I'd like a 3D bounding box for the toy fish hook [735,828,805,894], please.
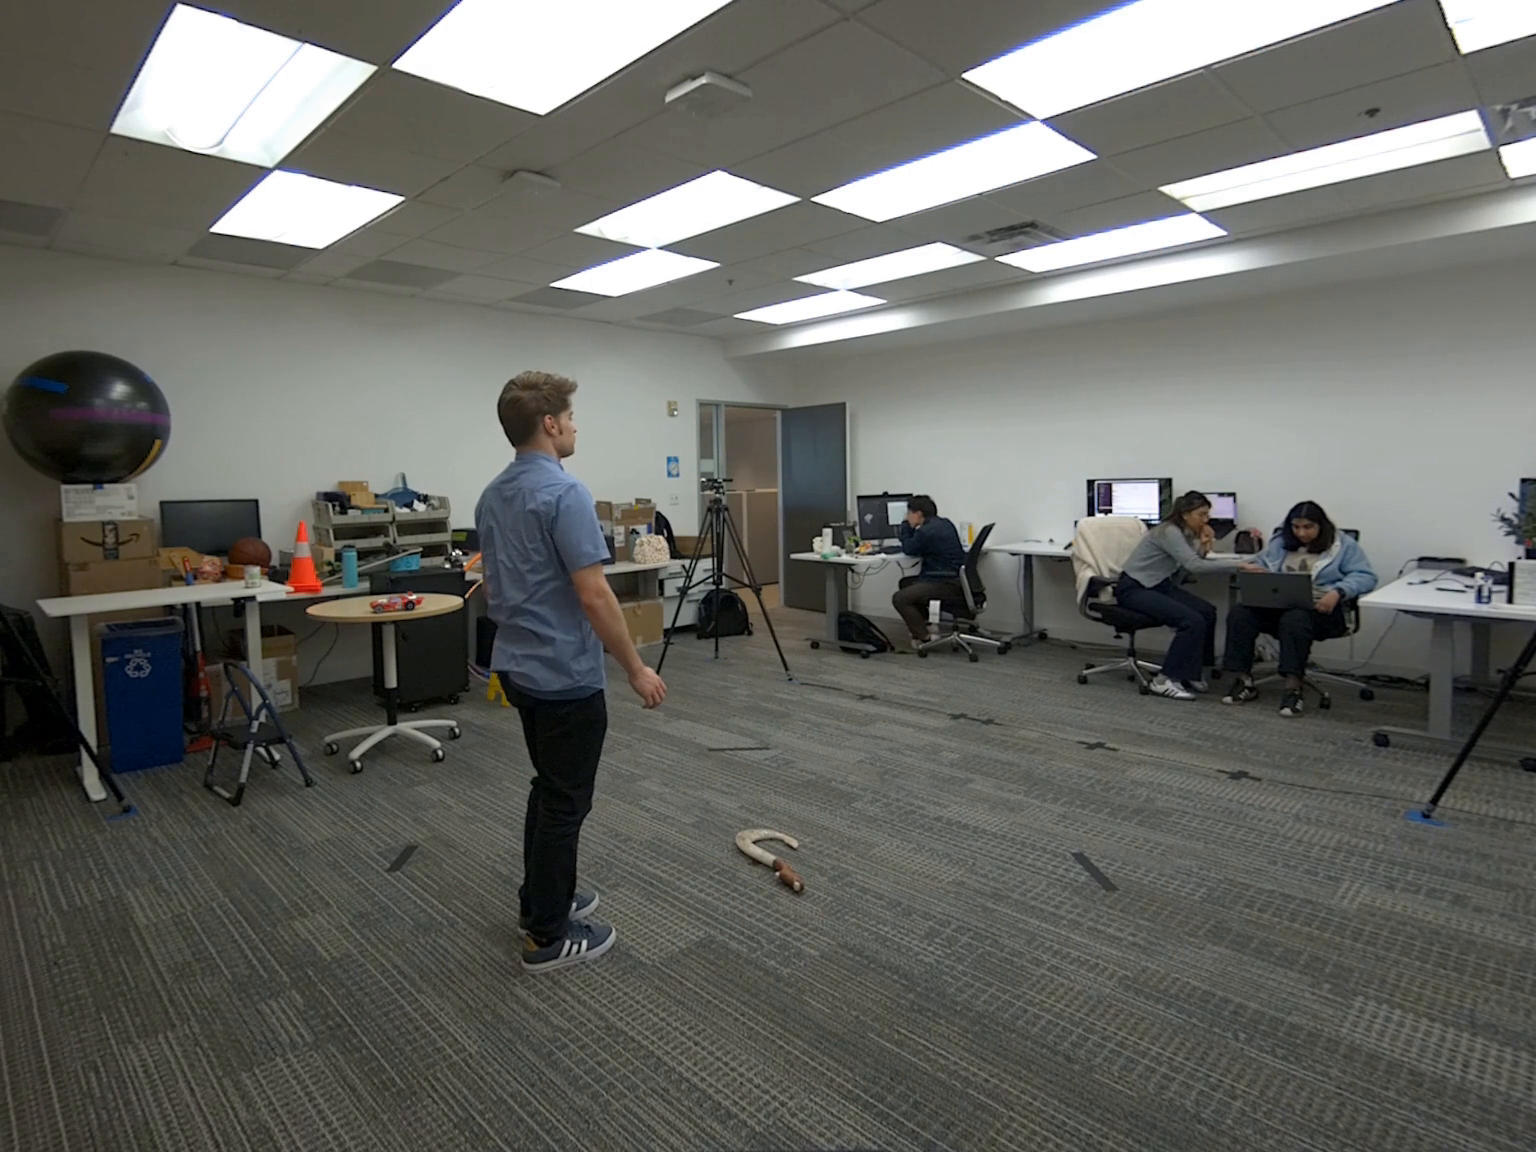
[{"bbox_3d":[0.053,1.020,3.110,0.220,0.048,0.519,-5,8,-23],"label":"toy fish hook"}]
